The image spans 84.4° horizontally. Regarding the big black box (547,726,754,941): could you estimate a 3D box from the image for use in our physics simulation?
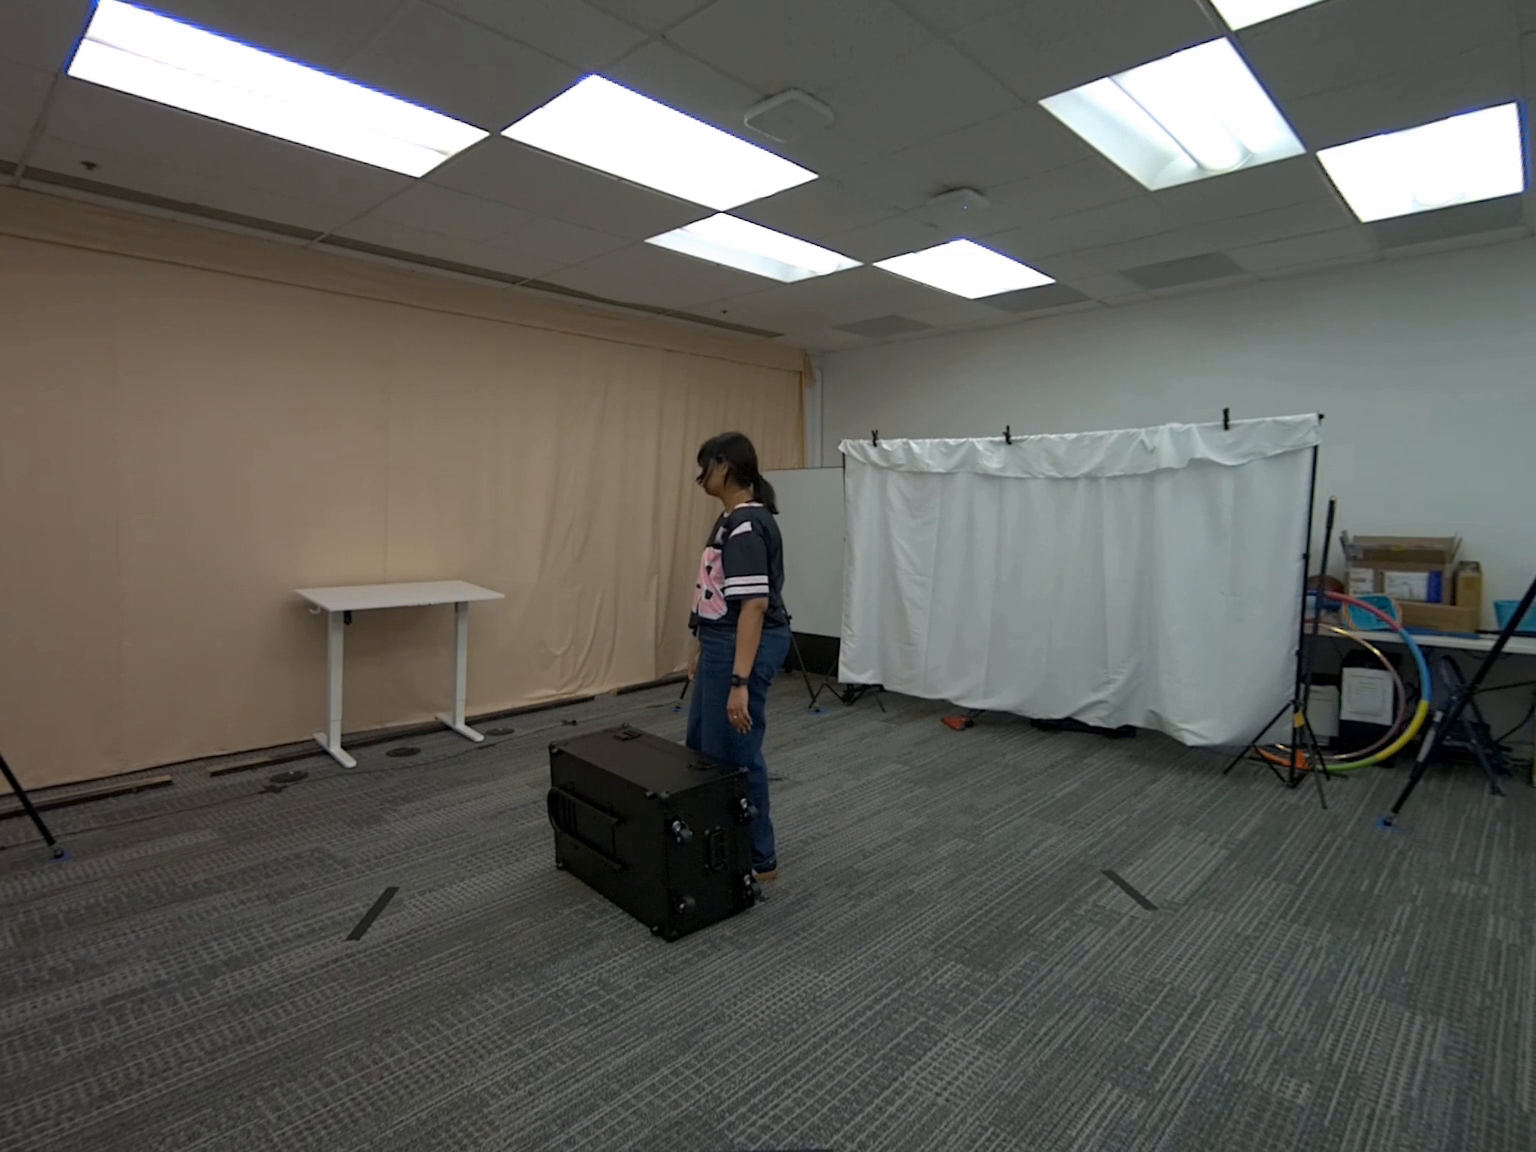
[{"bbox_3d":[-0.427,0.886,3.040,0.373,0.522,0.897,-4,5,-40],"label":"big black box"}]
